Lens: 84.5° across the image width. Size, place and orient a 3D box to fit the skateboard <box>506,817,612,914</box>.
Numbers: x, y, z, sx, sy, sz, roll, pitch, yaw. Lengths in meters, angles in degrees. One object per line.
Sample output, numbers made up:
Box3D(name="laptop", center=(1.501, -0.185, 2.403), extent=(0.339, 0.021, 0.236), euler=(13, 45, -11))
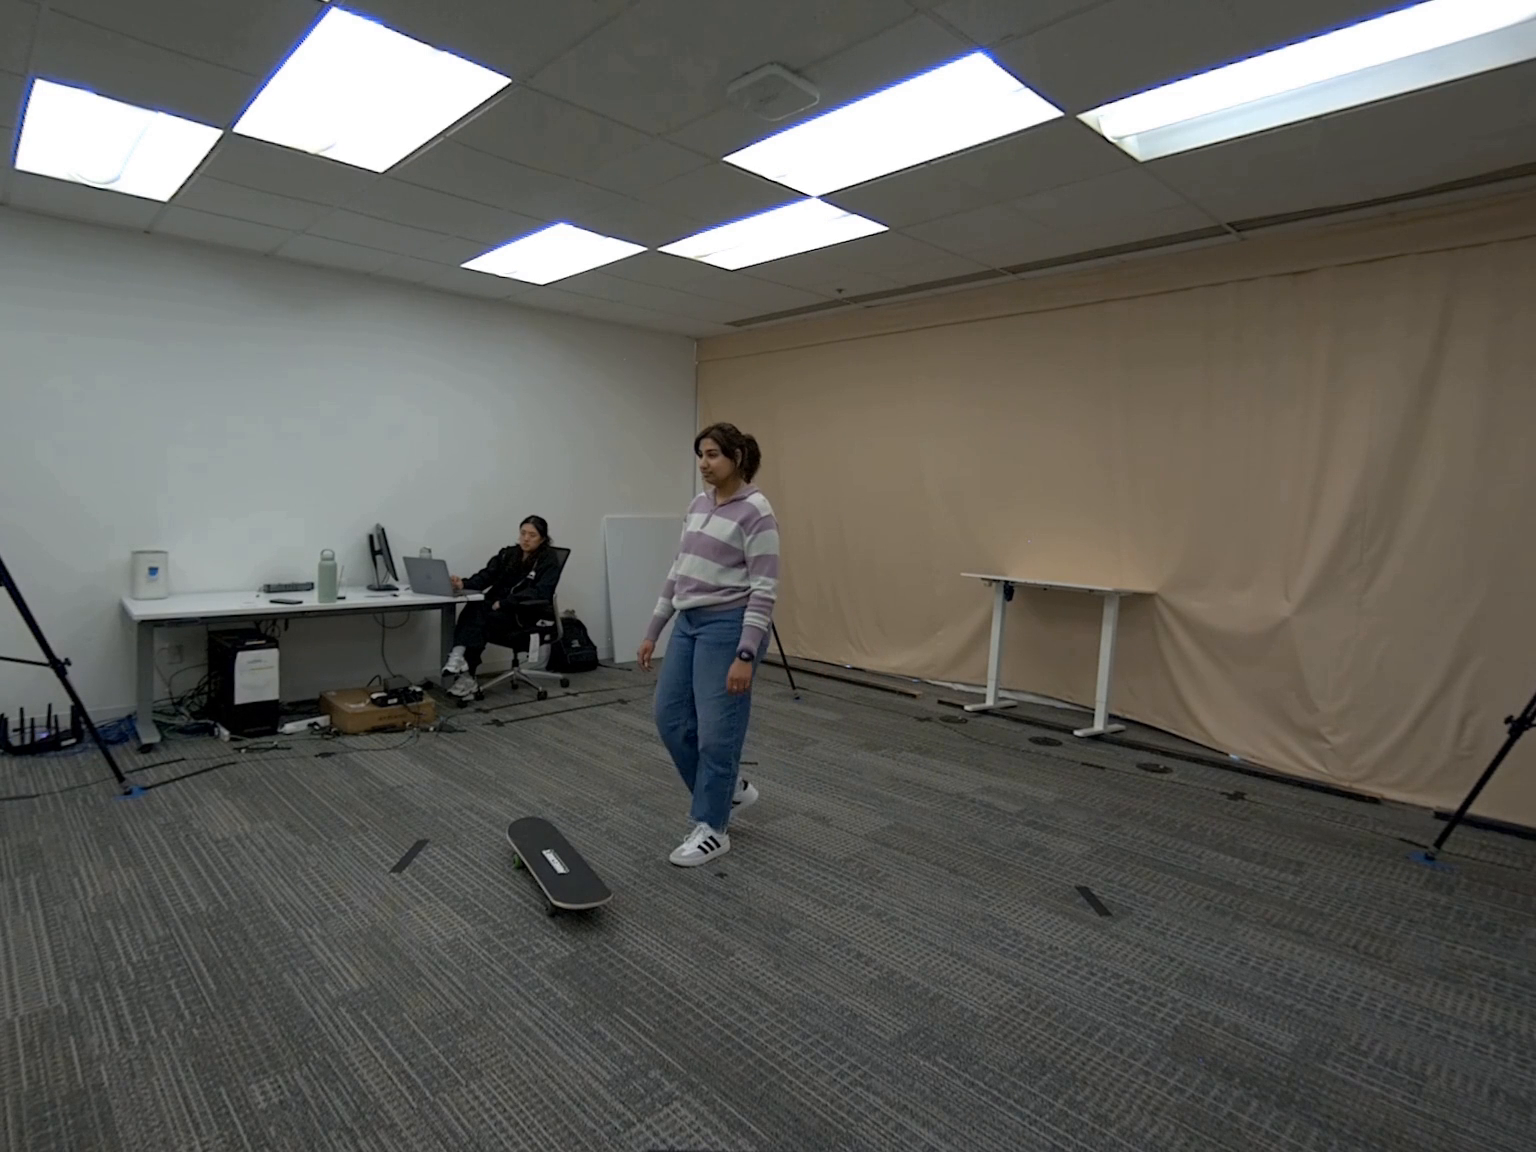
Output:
Box3D(name="skateboard", center=(-0.762, 1.047, 2.986), extent=(0.189, 0.110, 0.803), euler=(-1, 6, -30))
